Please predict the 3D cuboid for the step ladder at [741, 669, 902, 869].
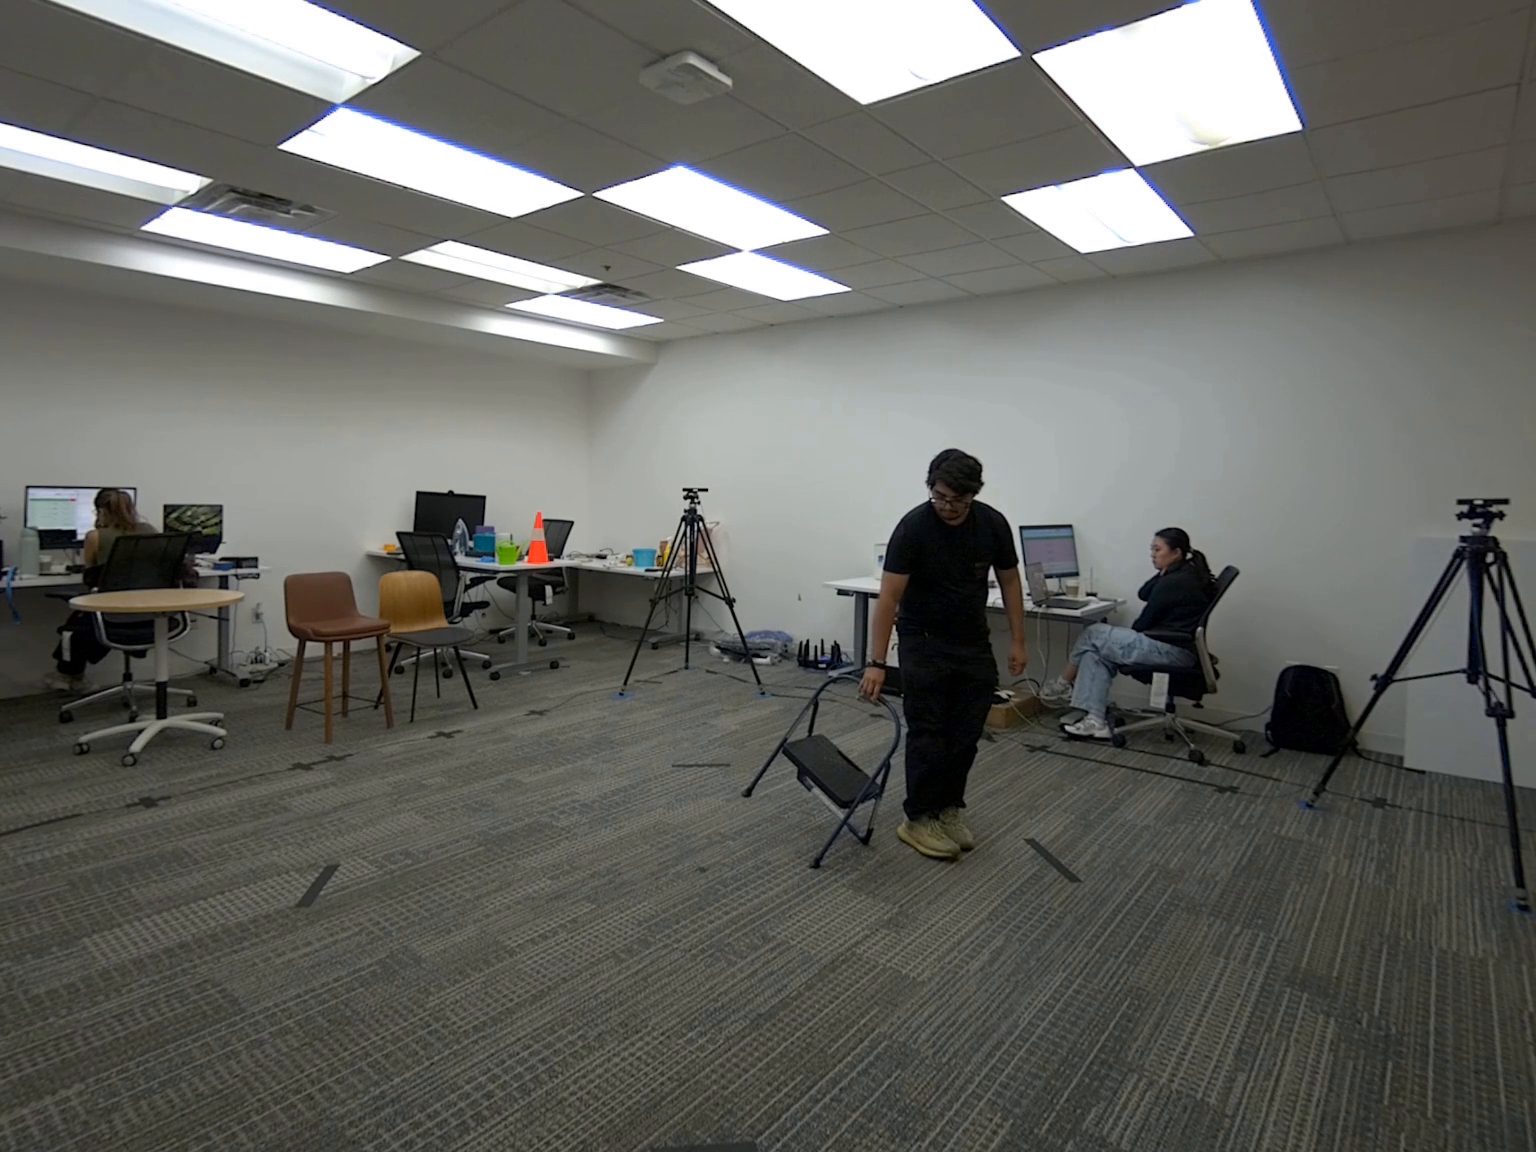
[{"bbox_3d":[0.241,0.705,3.287,0.338,0.600,0.449,-2,30,-46],"label":"step ladder"}]
